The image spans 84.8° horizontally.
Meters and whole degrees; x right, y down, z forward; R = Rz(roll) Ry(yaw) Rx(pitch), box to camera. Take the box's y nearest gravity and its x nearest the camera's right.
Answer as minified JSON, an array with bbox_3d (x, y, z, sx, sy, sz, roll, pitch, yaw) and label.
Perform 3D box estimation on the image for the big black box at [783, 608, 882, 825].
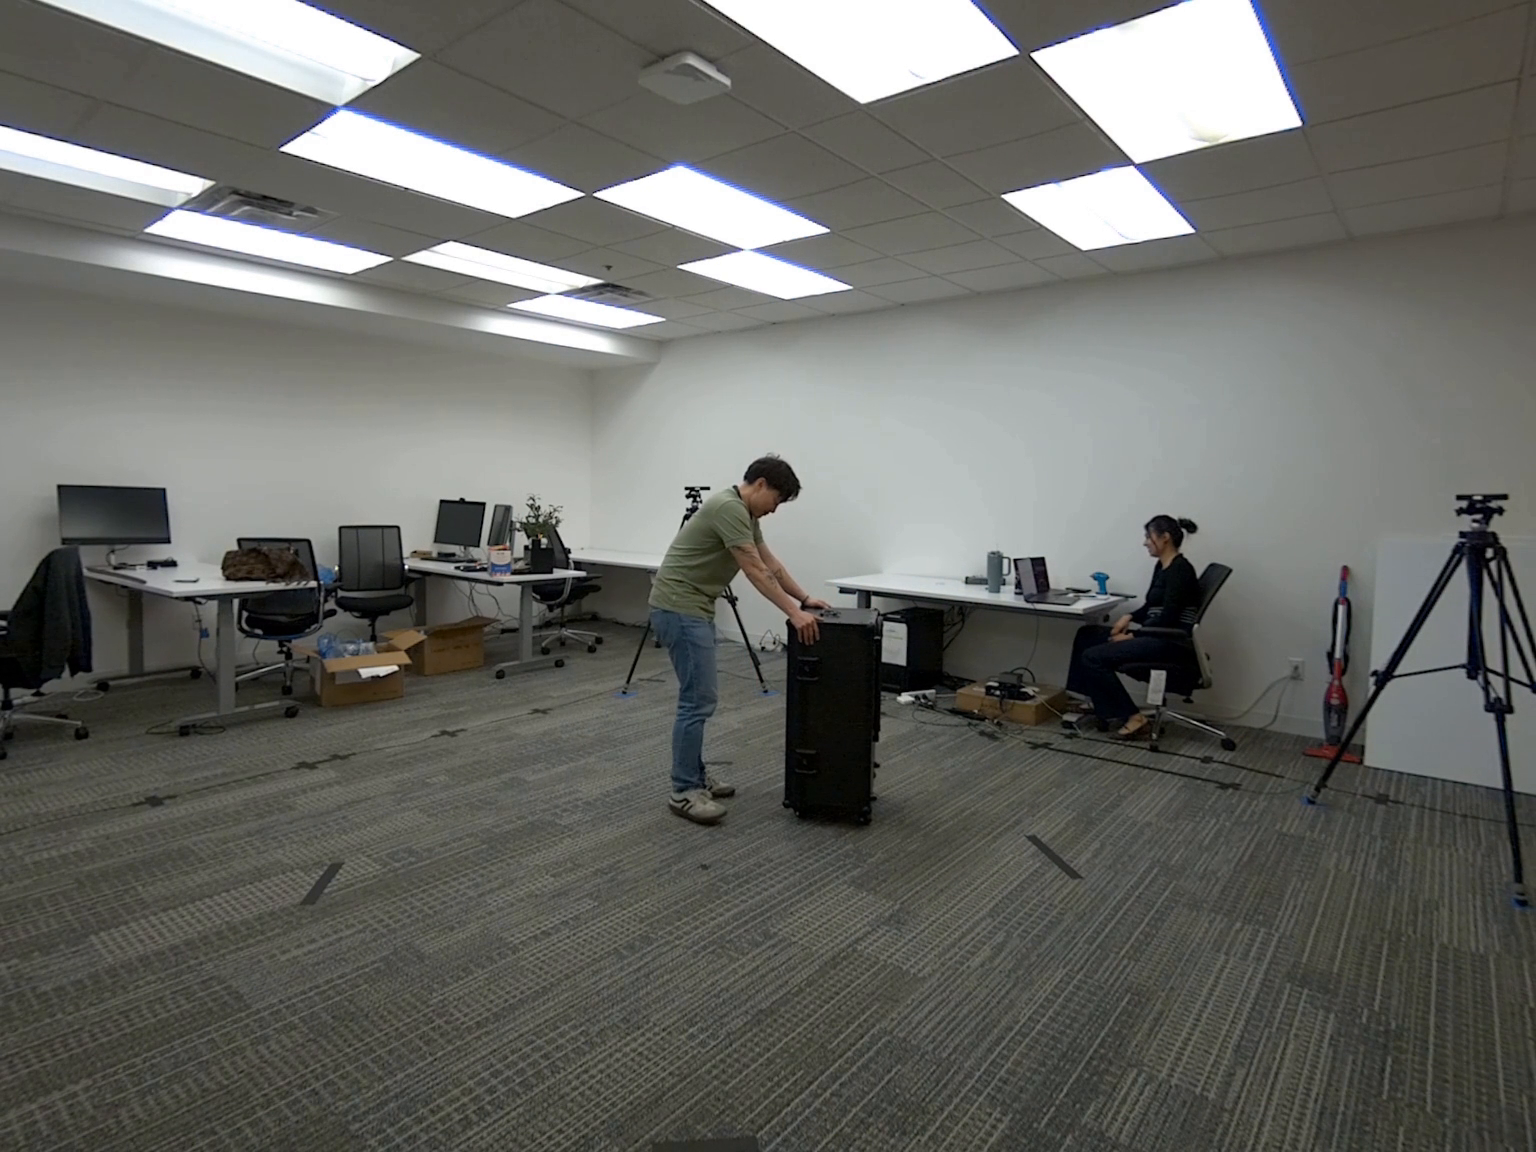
[{"bbox_3d":[0.290,0.588,3.706,0.401,0.859,0.516,2,3,11],"label":"big black box"}]
